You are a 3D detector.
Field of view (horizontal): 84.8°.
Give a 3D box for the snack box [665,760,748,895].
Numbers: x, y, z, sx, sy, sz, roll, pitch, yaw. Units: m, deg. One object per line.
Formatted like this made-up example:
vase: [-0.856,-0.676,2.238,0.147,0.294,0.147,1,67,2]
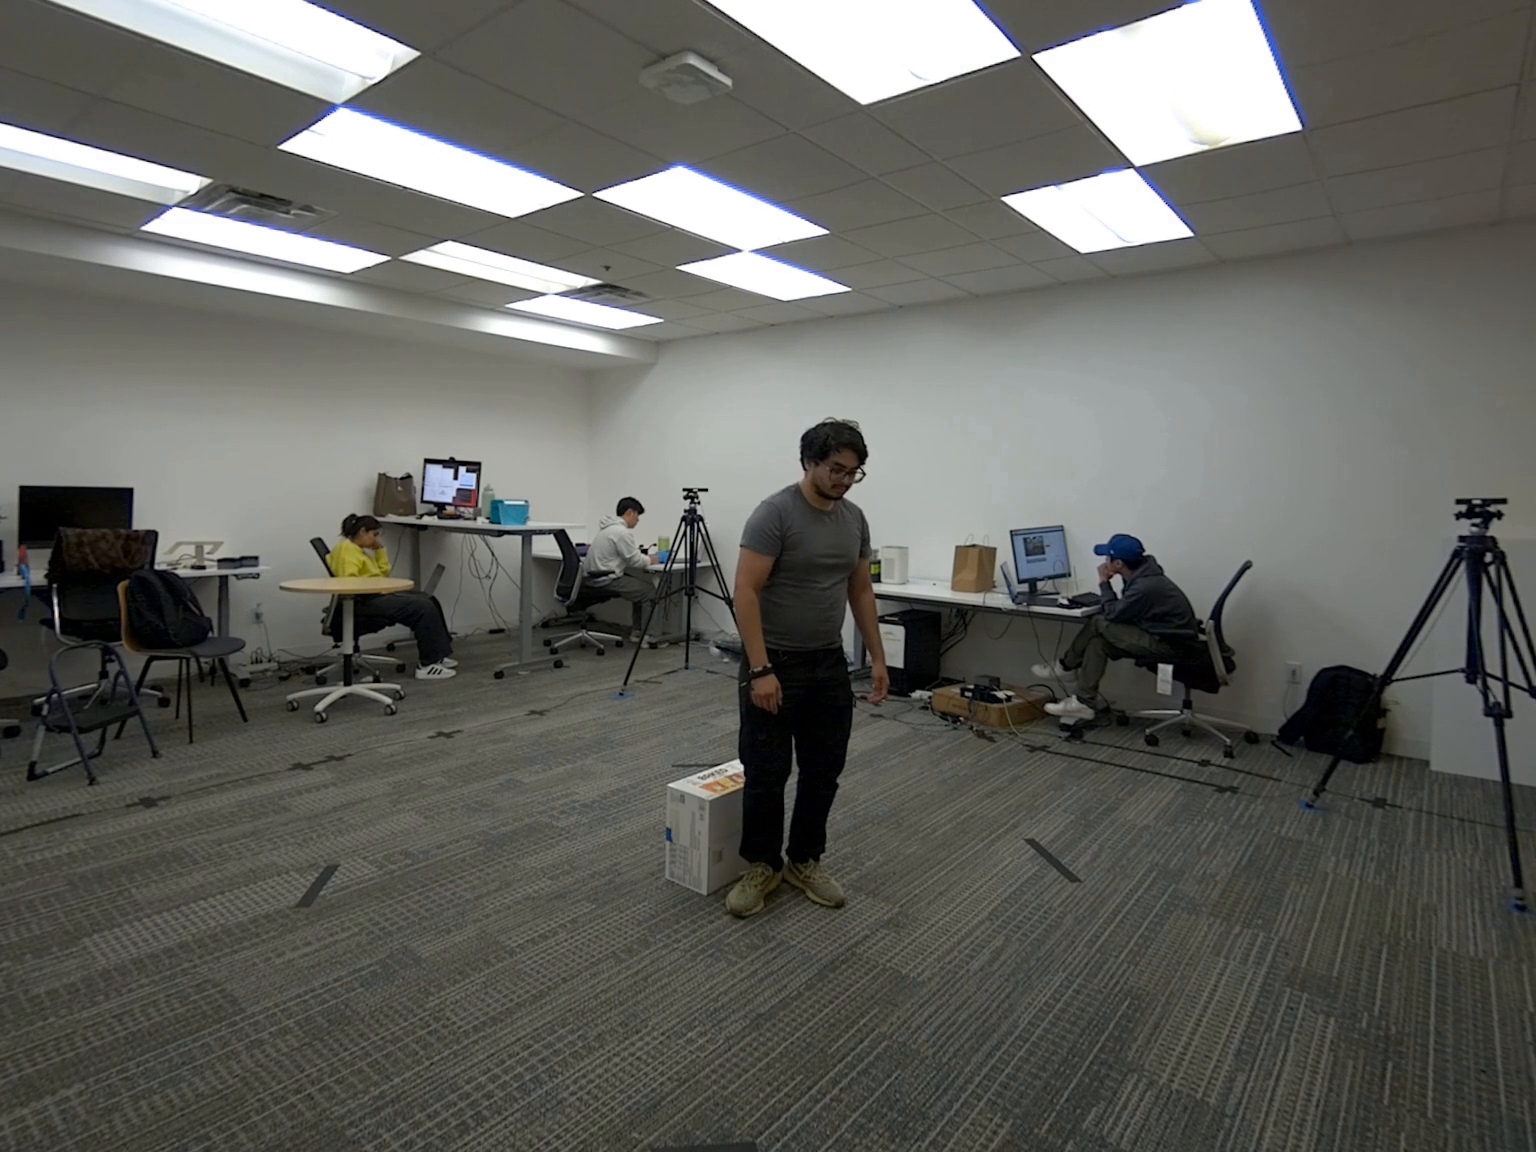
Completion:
snack box: [-0.171,0.900,3.105,0.212,0.339,0.393,4,6,39]
